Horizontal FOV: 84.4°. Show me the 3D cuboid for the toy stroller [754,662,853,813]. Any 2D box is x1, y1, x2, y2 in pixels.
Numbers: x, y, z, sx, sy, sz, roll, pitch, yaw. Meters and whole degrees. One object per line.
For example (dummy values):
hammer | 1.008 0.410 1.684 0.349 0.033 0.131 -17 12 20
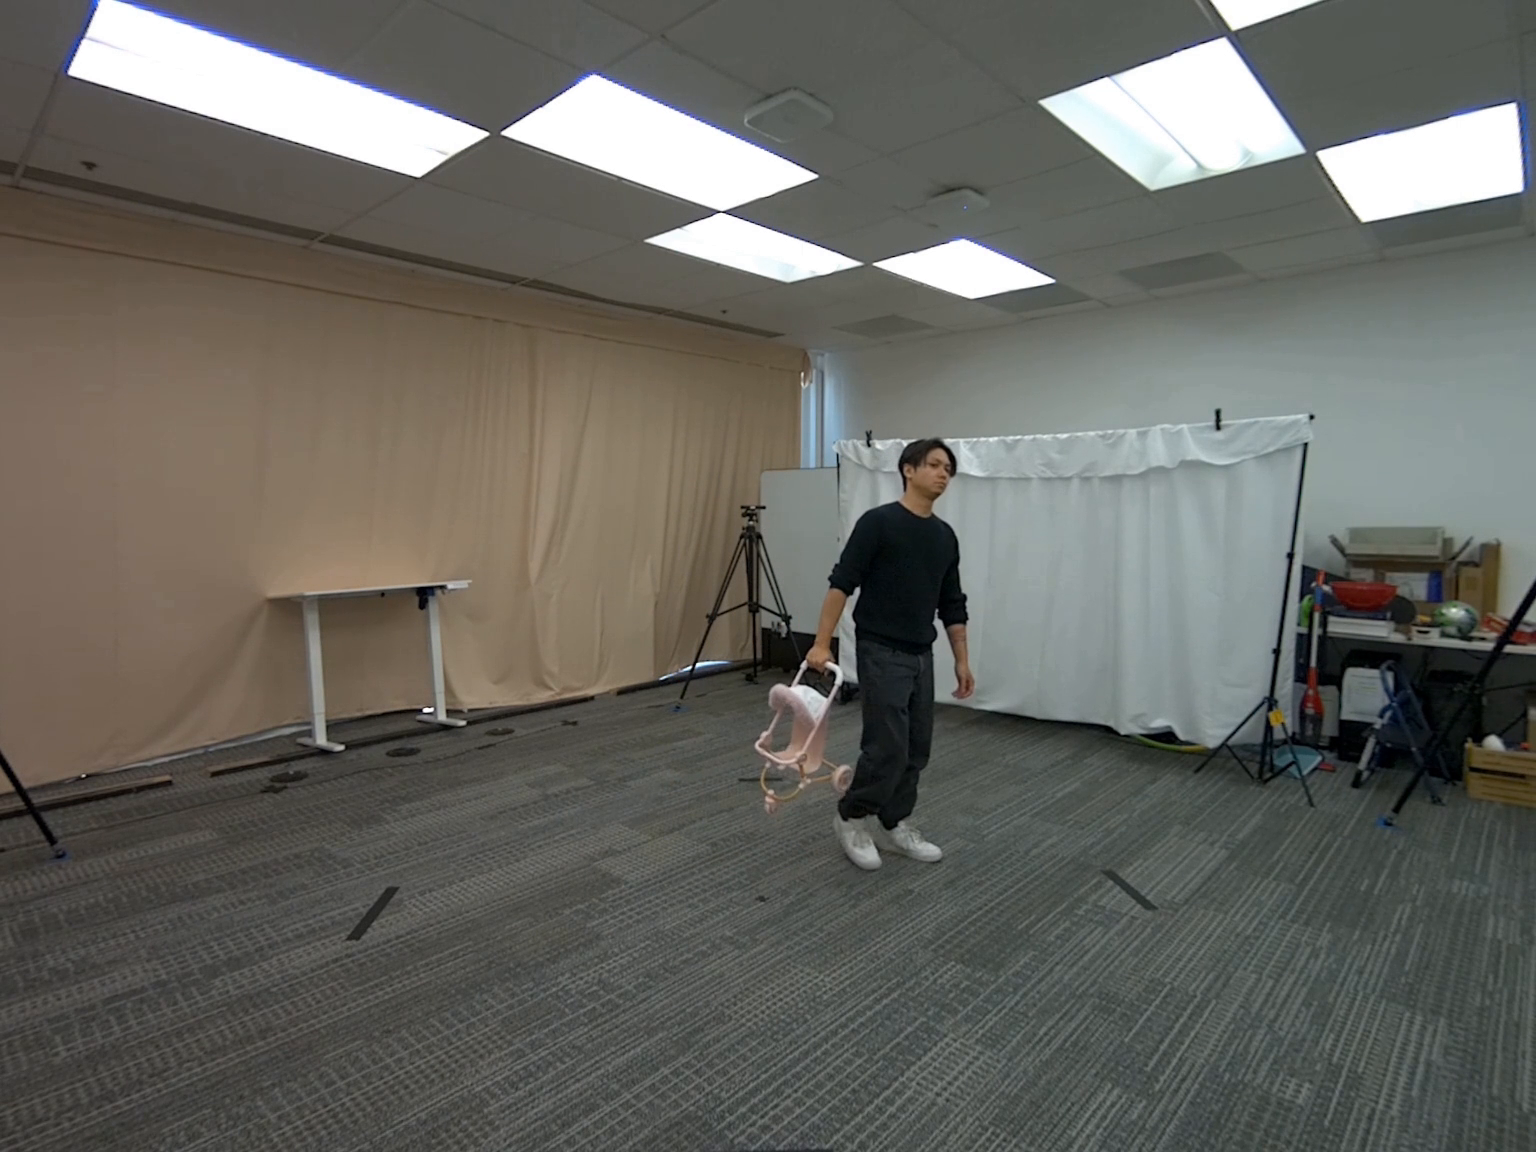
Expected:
toy stroller | 0.116 0.616 3.155 0.333 0.528 0.291 -14 22 -32
